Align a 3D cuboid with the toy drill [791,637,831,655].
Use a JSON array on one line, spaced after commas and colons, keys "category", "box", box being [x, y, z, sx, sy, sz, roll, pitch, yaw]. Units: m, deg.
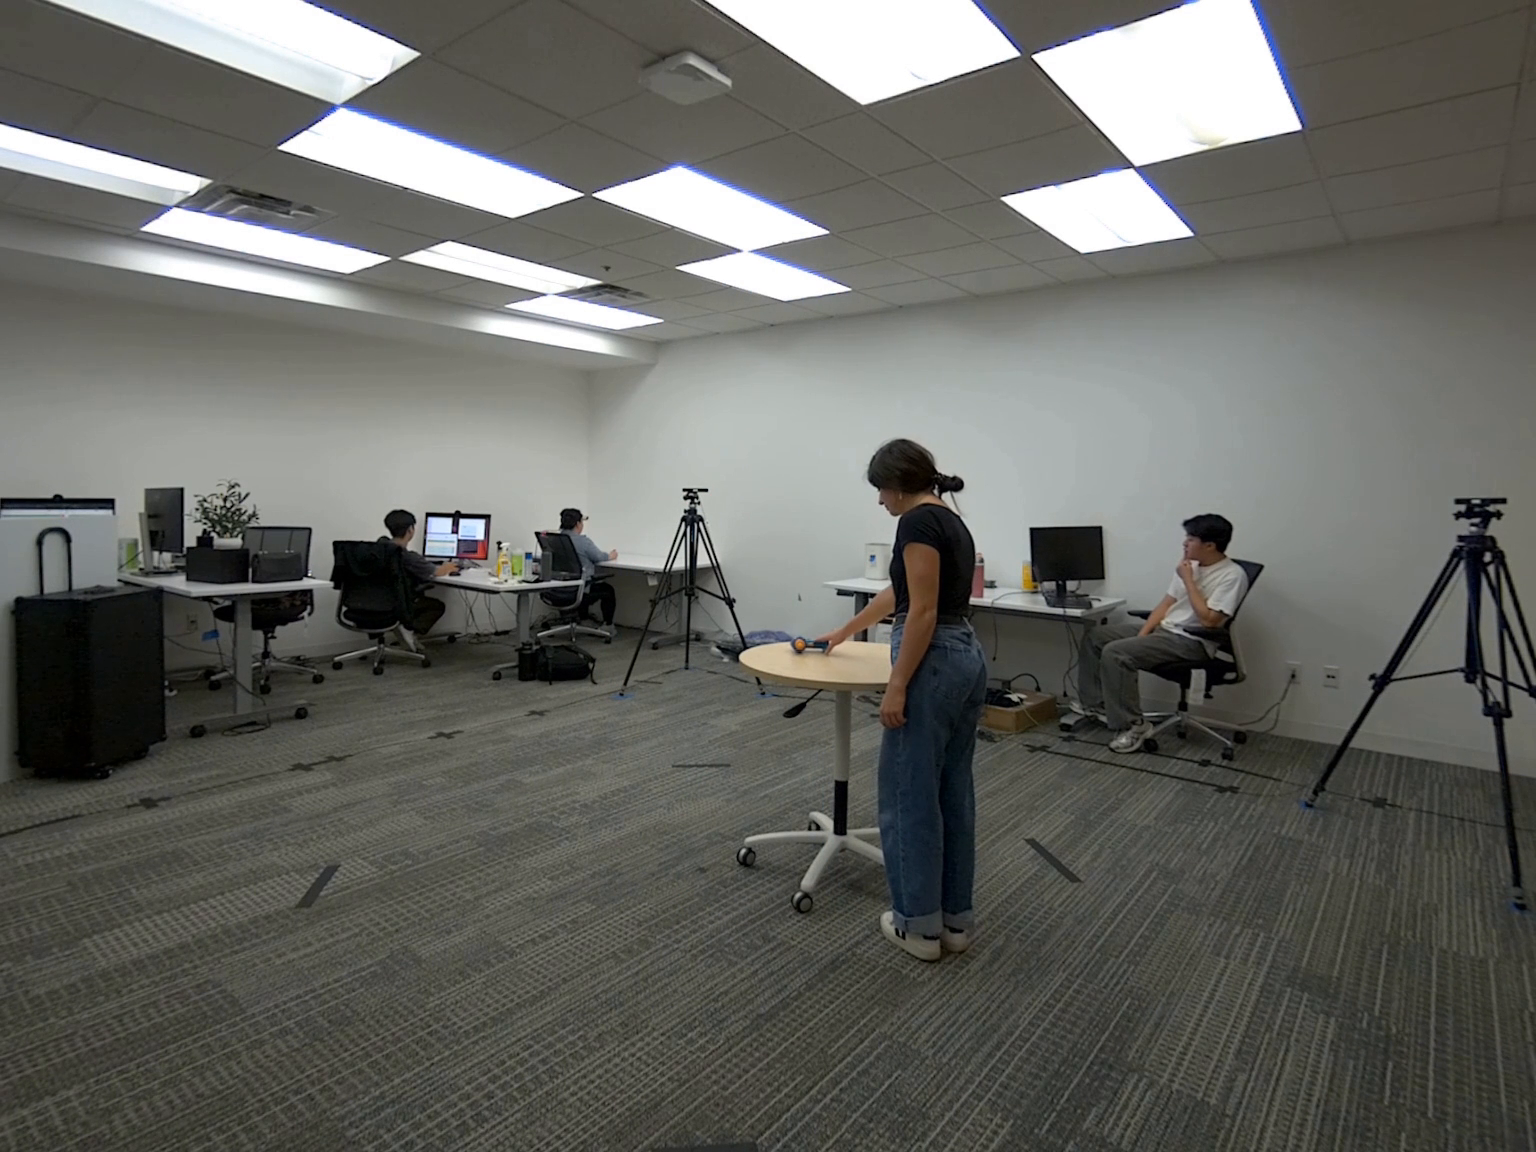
[{"category": "toy drill", "box": [0.166, 0.250, 3.193, 0.146, 0.061, 0.169, 2, -4, 0]}]
